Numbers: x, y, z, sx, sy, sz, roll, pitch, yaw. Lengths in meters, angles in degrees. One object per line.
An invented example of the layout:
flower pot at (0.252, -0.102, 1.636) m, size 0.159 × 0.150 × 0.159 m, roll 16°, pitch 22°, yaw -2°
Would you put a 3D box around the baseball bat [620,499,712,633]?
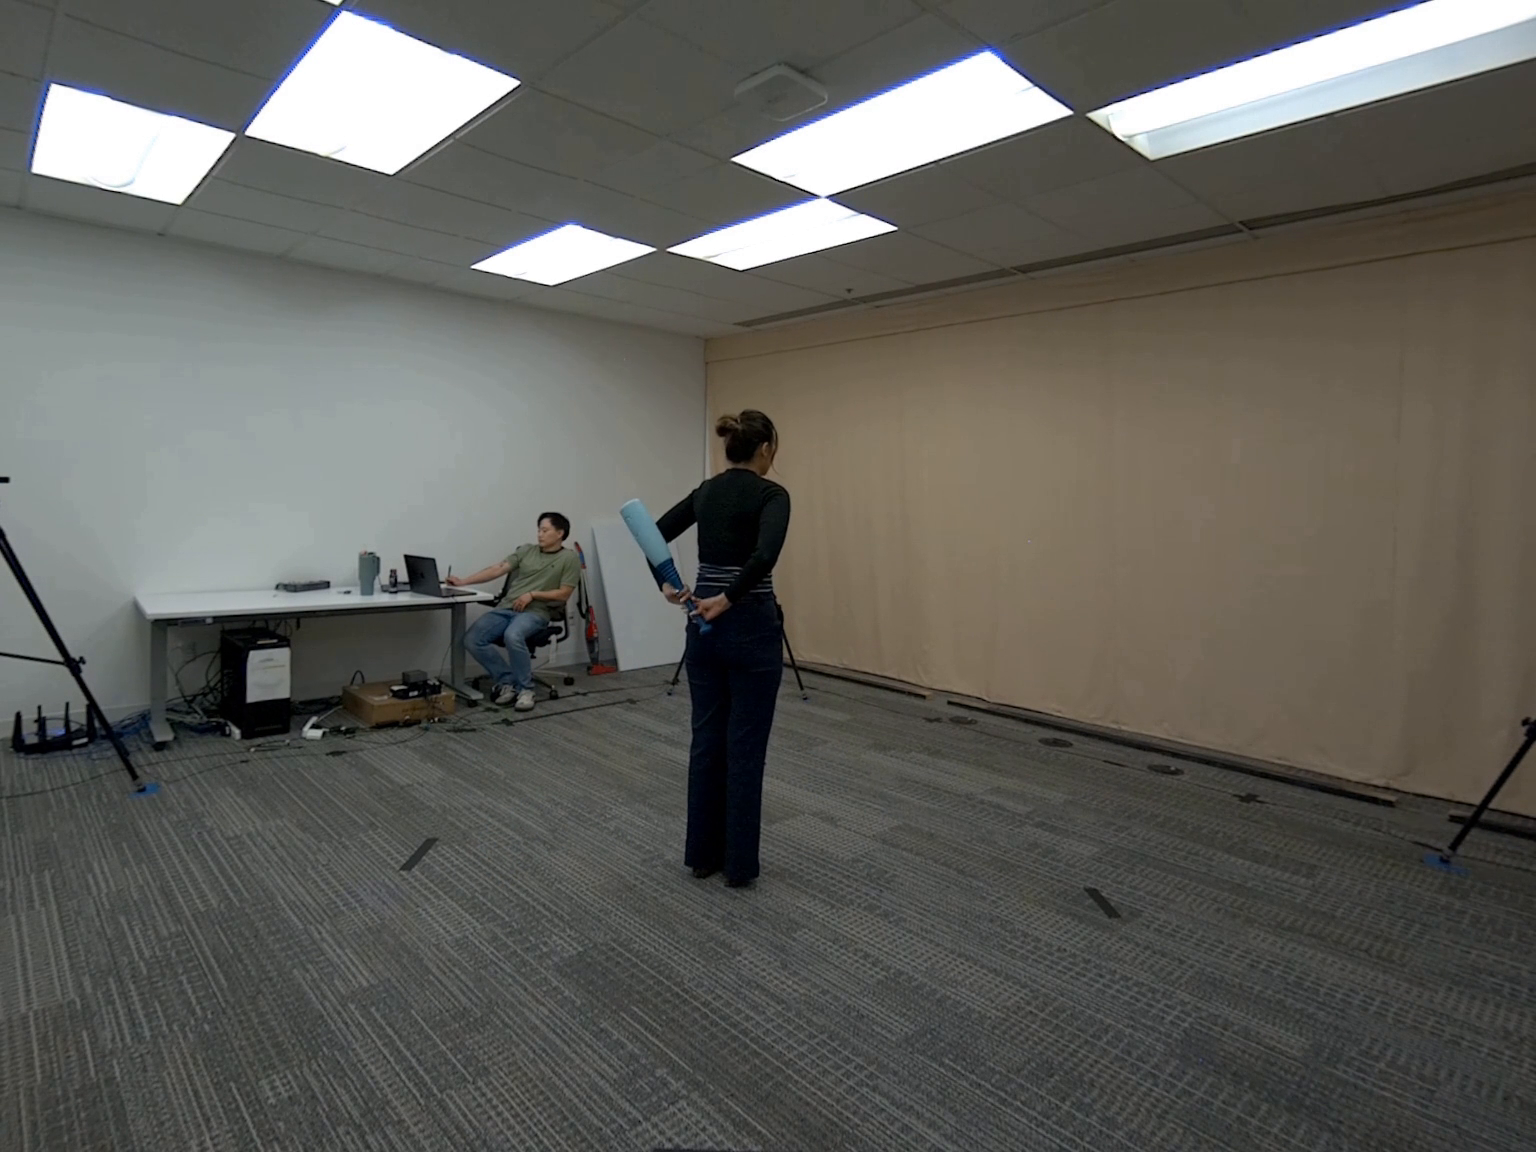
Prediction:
baseball bat at (-0.356, -0.030, 2.945) m, size 0.089 × 0.548 × 0.088 m, roll -32°, pitch -8°, yaw -6°
